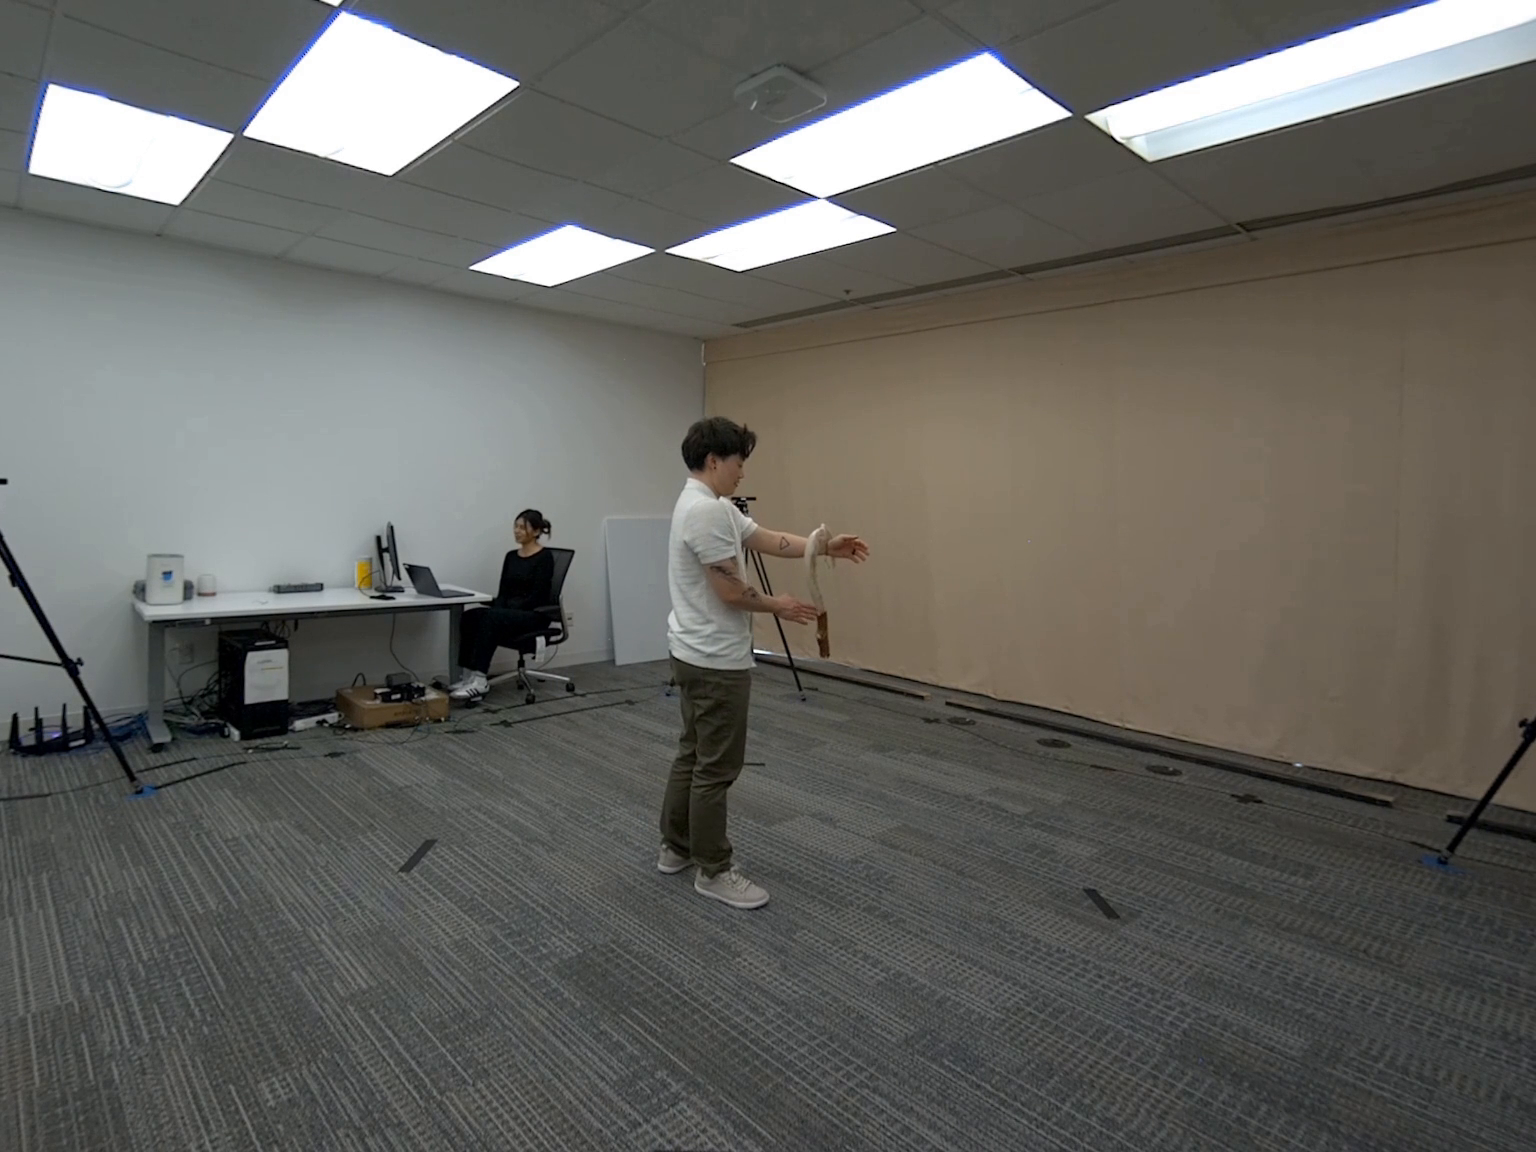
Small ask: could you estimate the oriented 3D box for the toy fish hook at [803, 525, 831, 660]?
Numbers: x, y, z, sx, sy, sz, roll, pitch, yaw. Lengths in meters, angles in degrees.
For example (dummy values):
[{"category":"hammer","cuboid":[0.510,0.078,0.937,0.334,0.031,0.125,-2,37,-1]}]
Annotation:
[{"category":"toy fish hook","cuboid":[0.211,0.061,3.101,0.049,0.498,0.223,10,28,34]}]
